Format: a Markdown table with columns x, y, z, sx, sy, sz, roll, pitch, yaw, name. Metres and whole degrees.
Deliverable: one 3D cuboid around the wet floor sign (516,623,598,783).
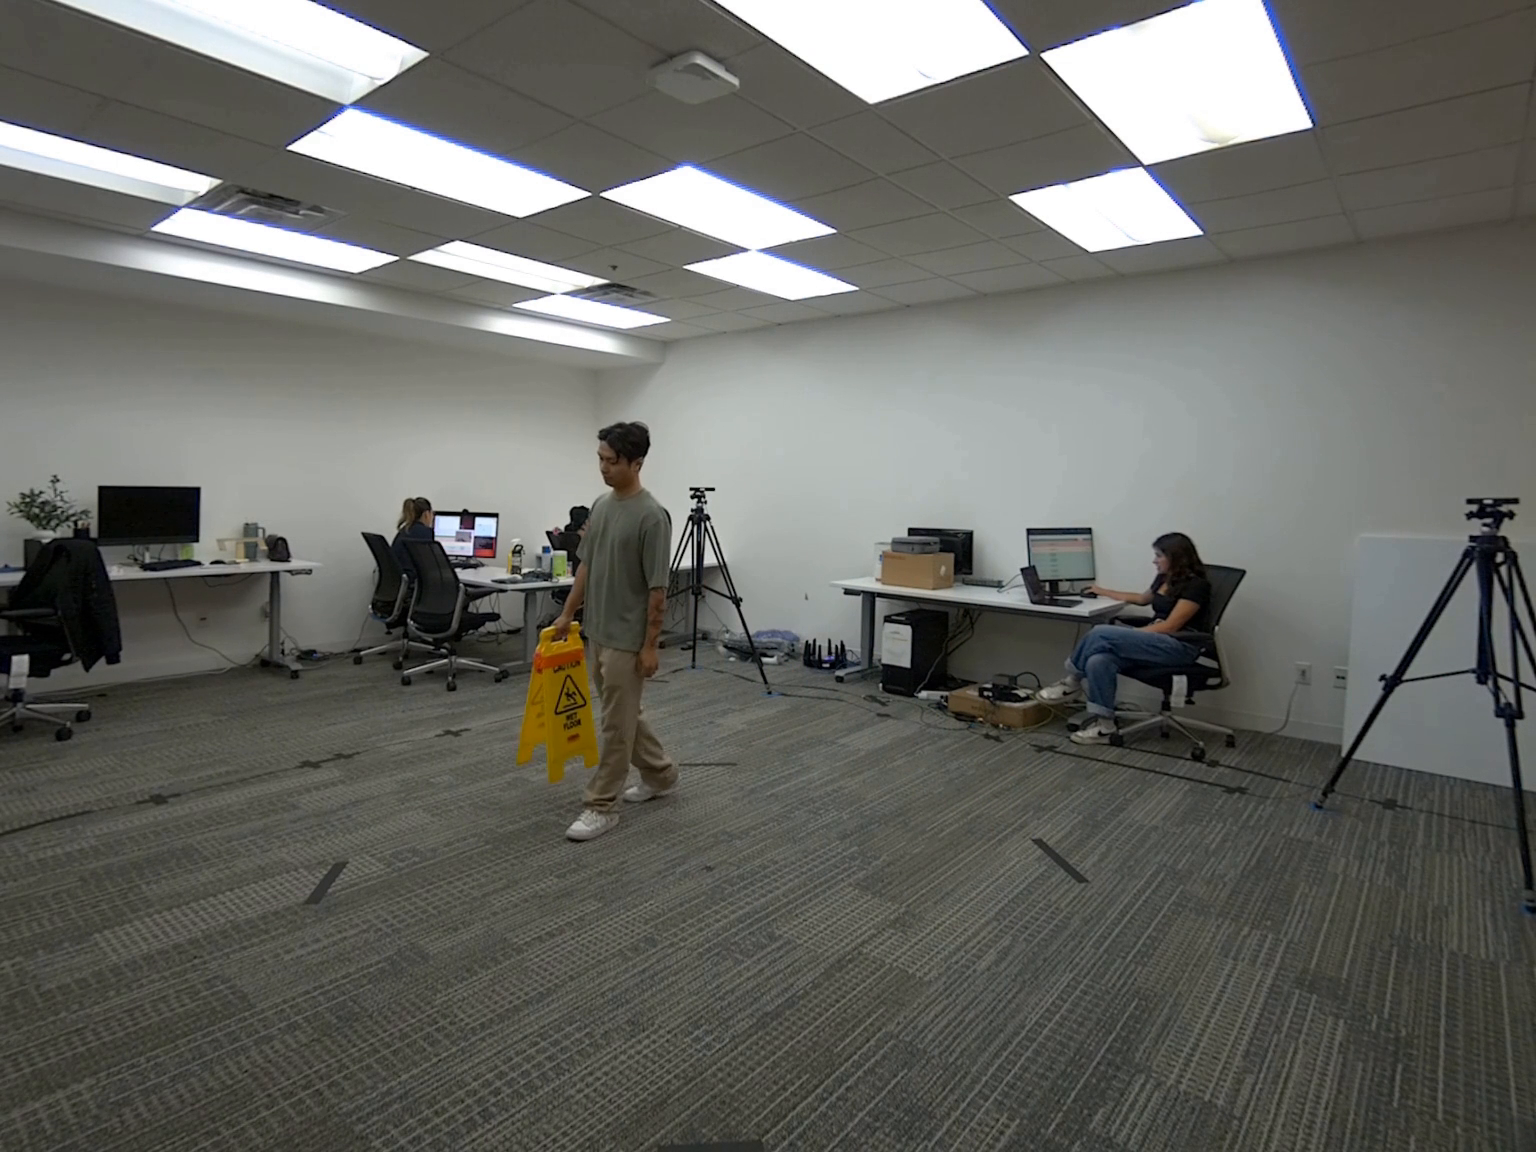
| x | y | z | sx | sy | sz | roll | pitch | yaw | name |
| --- | --- | --- | --- | --- | --- | --- | --- | --- | --- |
| -0.935 | 0.531 | 3.770 | 0.300 | 0.639 | 0.275 | 12 | 14 | 38 | wet floor sign |
